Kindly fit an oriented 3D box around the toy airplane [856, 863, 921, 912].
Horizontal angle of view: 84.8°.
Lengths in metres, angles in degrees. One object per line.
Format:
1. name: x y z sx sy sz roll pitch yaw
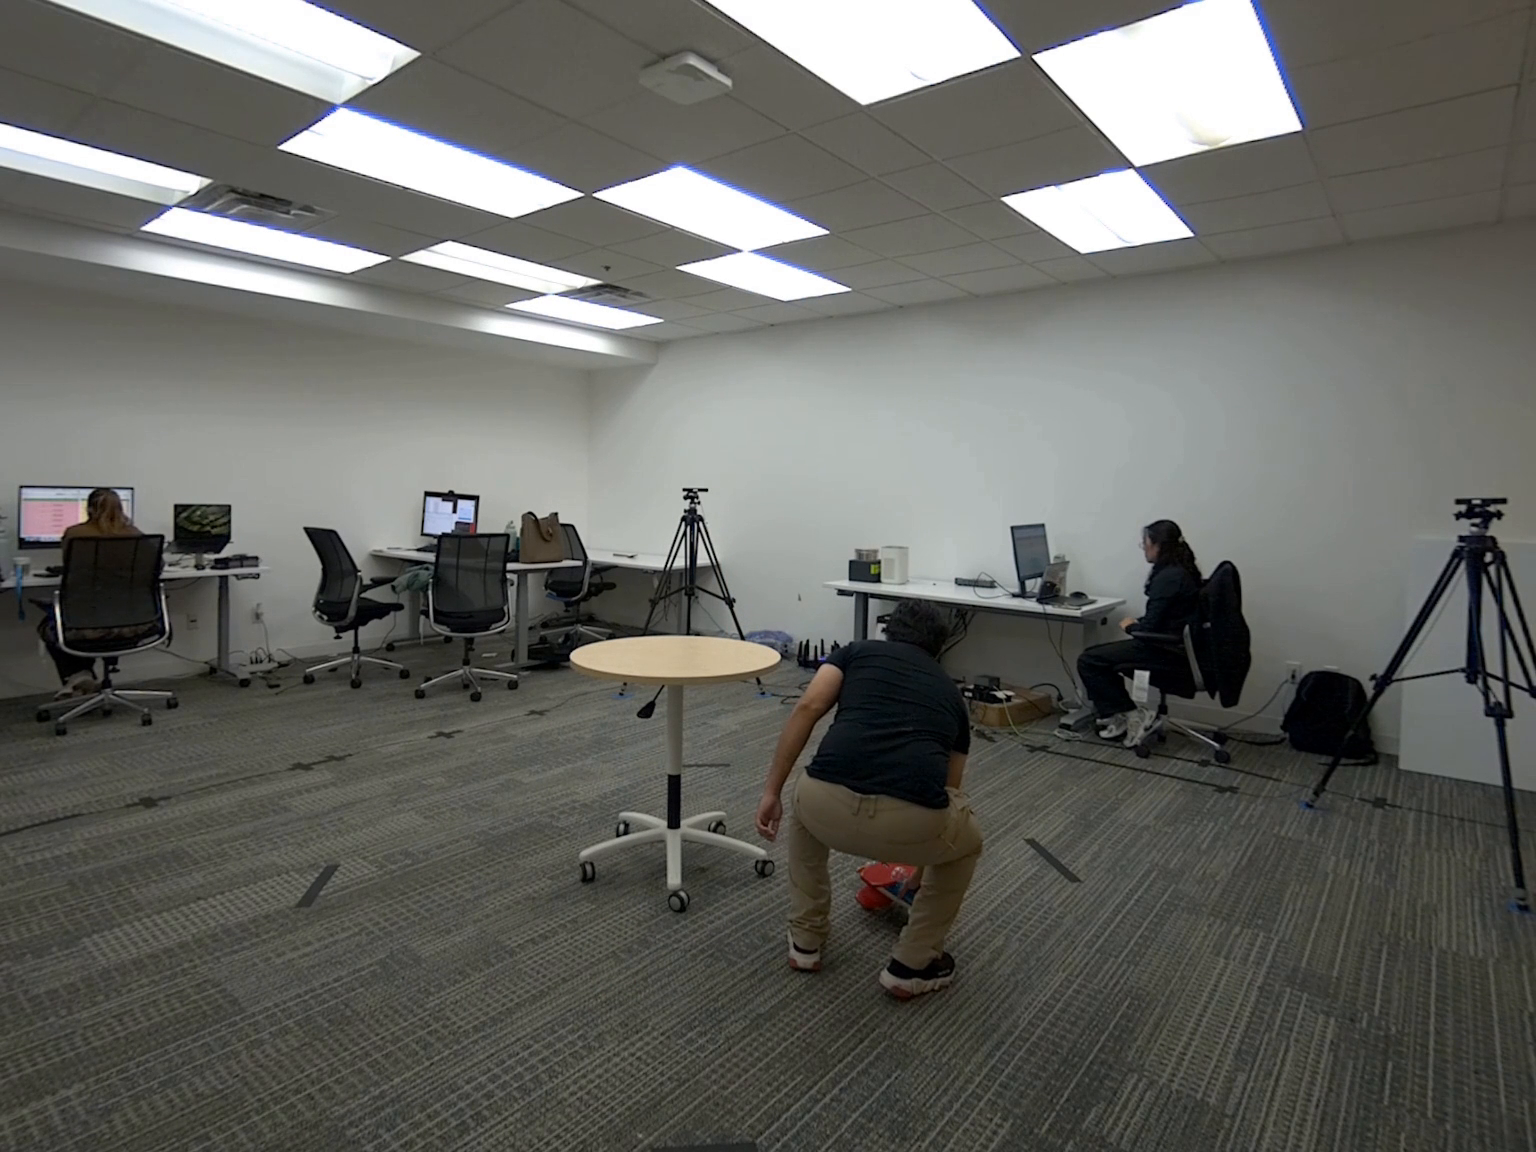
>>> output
1. toy airplane: 0.428 1.039 2.821 0.265 0.156 0.246 2 3 22
